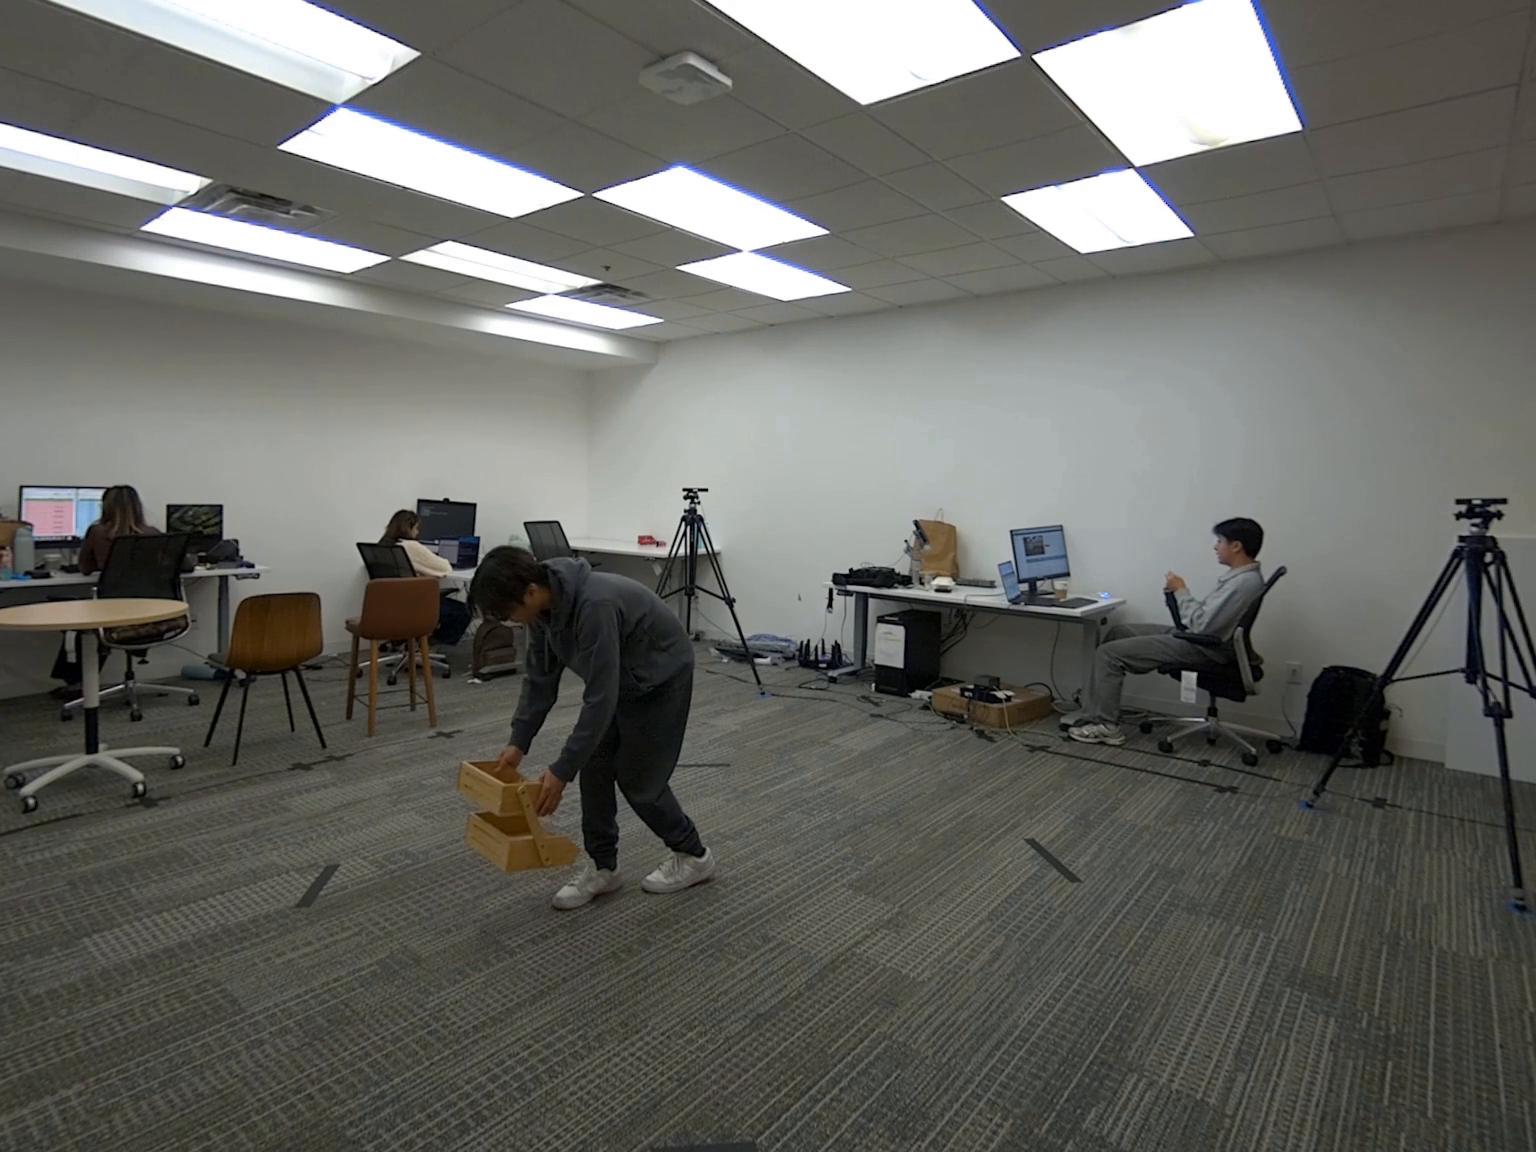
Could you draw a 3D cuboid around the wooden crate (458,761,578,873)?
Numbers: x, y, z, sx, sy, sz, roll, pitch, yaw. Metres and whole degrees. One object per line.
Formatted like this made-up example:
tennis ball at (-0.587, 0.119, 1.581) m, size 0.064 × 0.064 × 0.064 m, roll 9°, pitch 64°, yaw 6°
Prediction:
wooden crate at (-0.798, 0.742, 2.700) m, size 0.291 × 0.274 × 0.335 m, roll 10°, pitch -3°, yaw -42°
